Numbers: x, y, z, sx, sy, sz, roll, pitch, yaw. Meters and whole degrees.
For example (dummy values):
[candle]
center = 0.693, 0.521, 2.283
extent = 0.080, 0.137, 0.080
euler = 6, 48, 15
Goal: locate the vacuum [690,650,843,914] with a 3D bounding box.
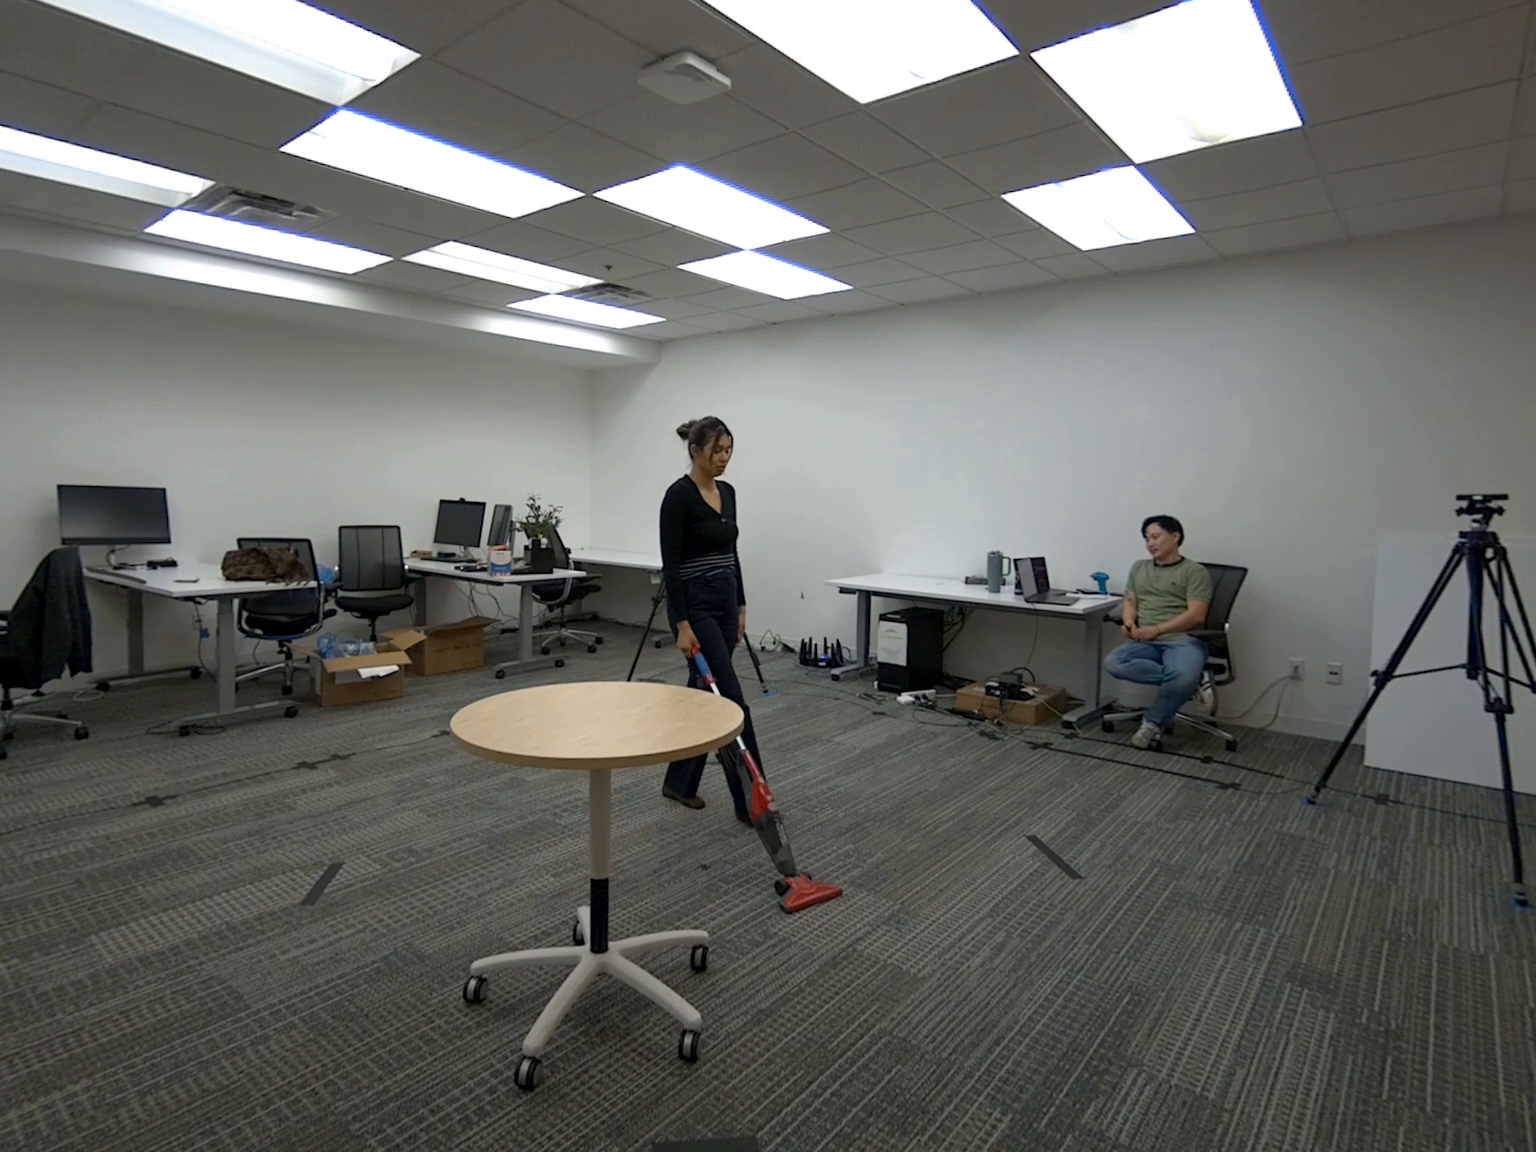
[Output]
[vacuum]
center = -0.098, 0.695, 3.177
extent = 0.244, 0.143, 1.089
euler = 3, 45, -40
